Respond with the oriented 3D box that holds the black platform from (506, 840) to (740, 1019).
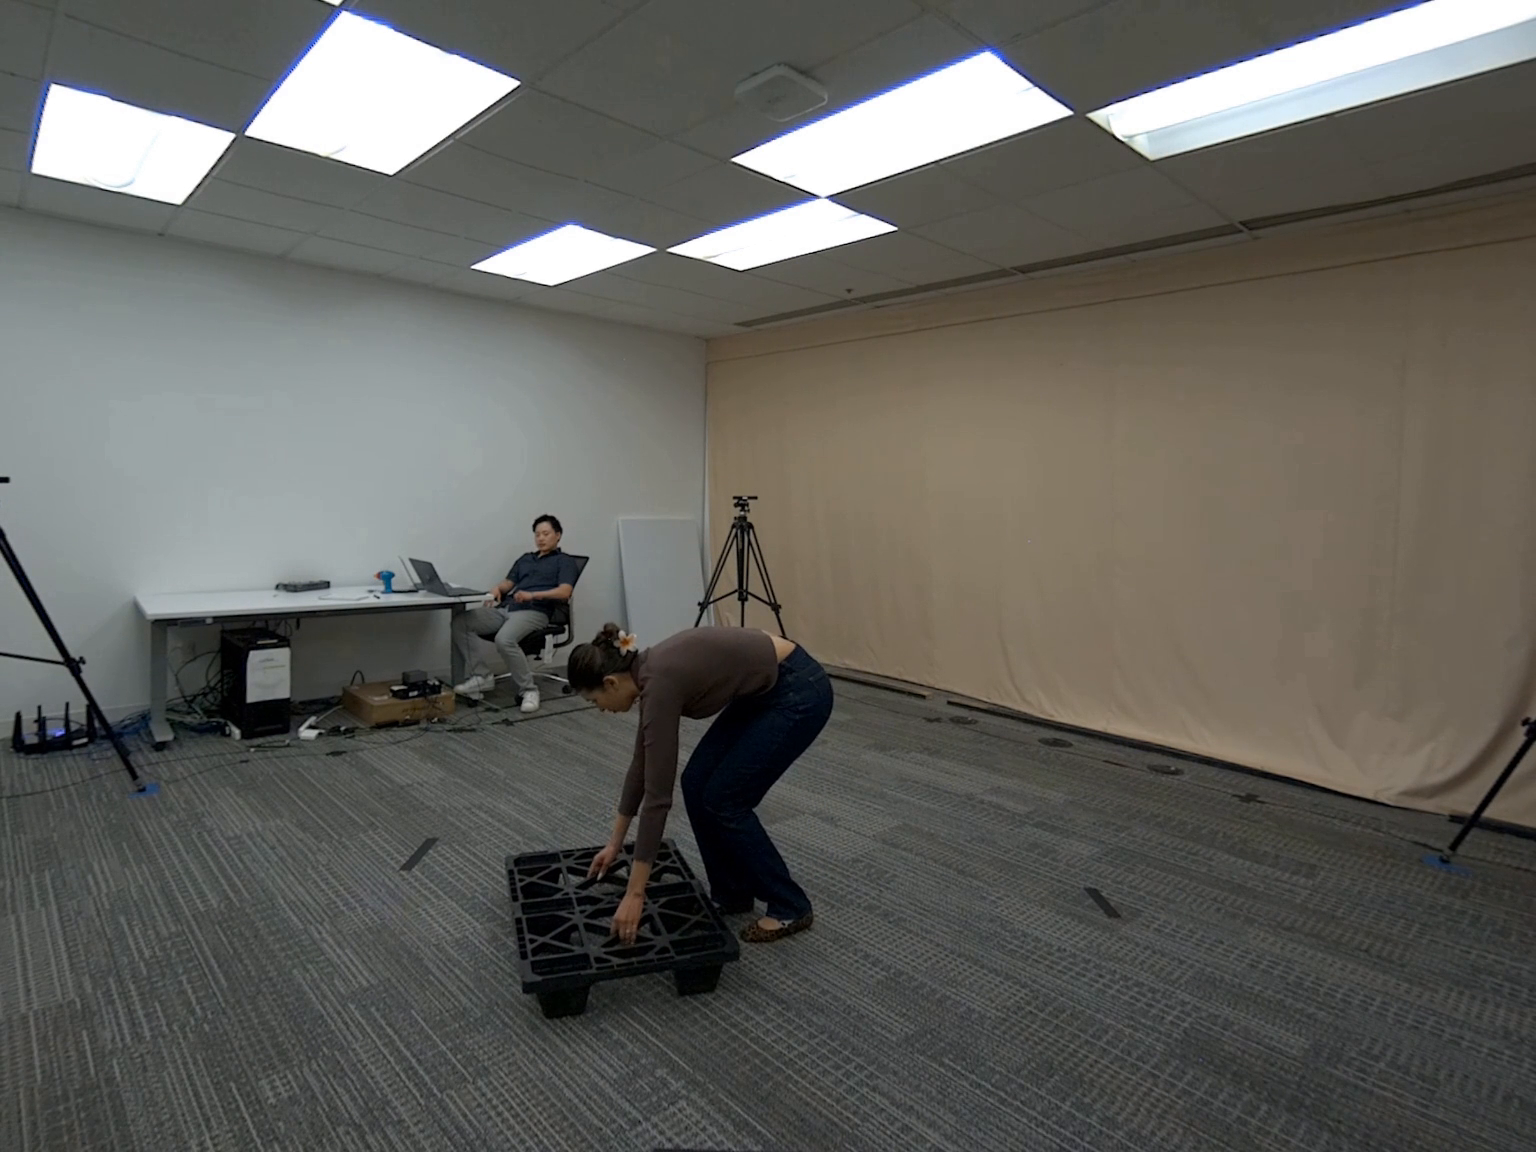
[{"bbox_3d":[-0.504,1.072,2.630,0.596,0.143,0.820,-2,6,-19],"label":"black platform"}]
